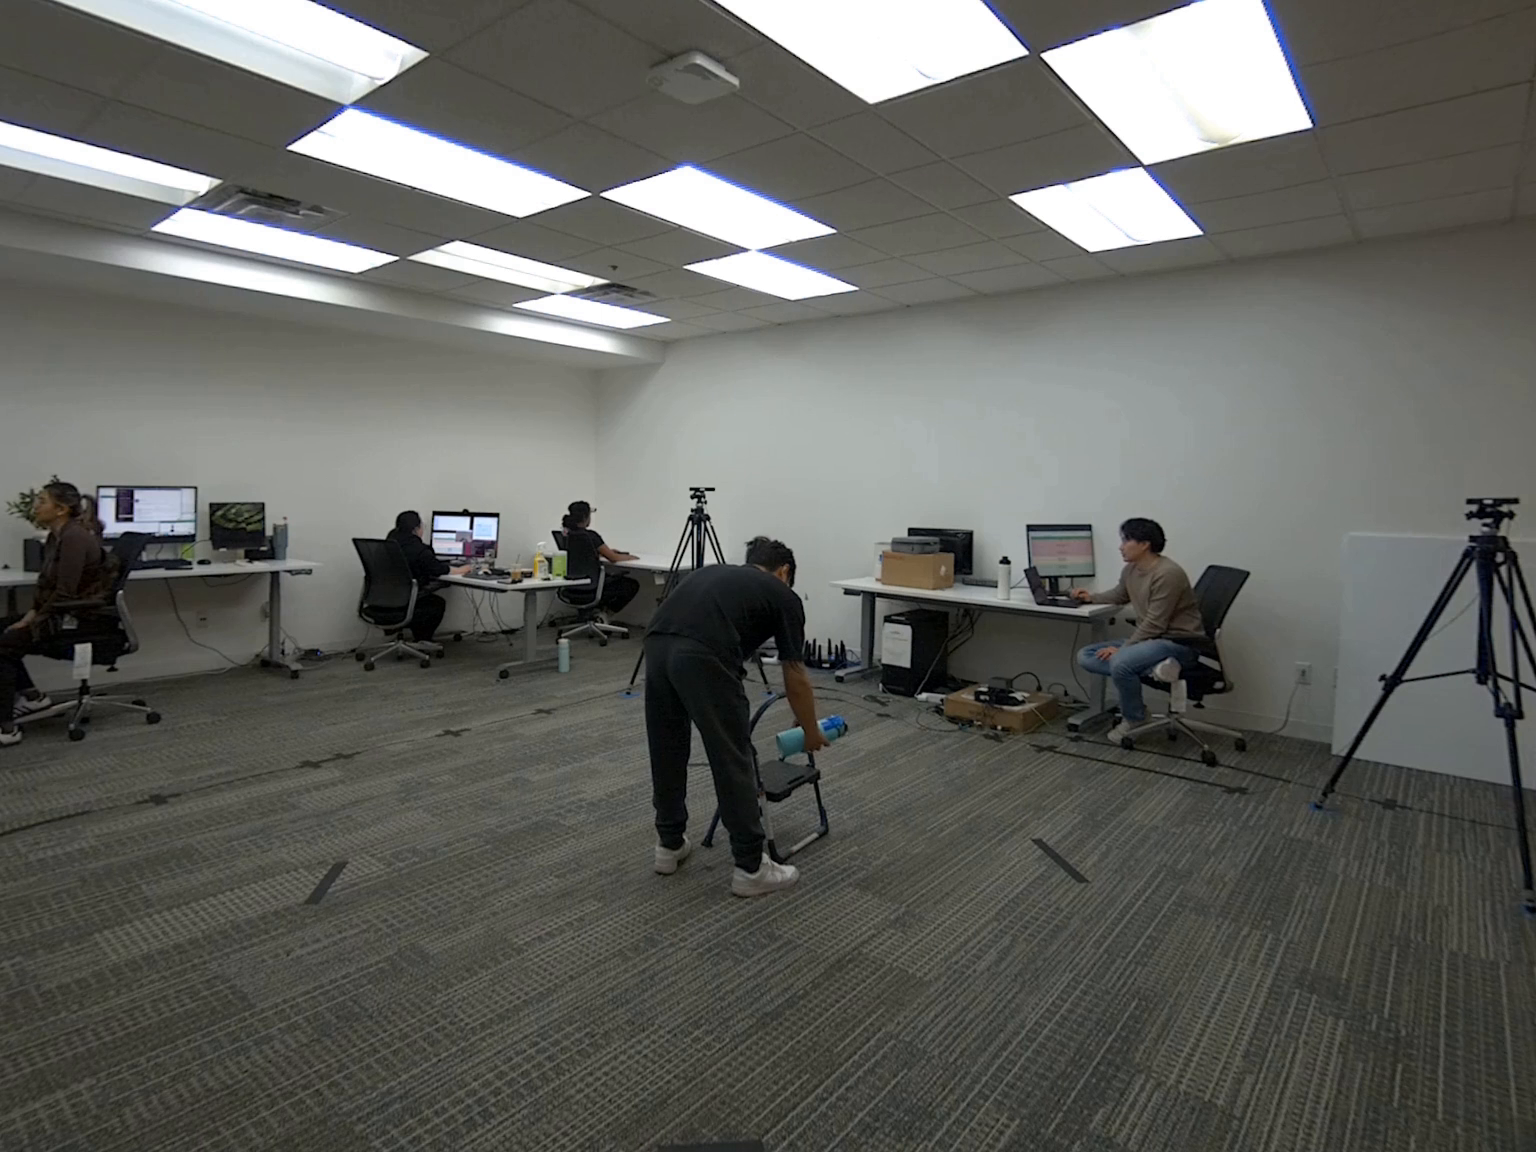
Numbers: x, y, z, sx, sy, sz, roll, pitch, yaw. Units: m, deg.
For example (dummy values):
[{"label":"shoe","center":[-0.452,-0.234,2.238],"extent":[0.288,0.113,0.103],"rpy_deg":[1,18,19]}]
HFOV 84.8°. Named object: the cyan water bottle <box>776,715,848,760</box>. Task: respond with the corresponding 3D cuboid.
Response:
[{"label":"cyan water bottle","center":[0.163,0.603,3.265],"extent":[0.281,0.091,0.094],"rpy_deg":[-15,7,-11]}]
